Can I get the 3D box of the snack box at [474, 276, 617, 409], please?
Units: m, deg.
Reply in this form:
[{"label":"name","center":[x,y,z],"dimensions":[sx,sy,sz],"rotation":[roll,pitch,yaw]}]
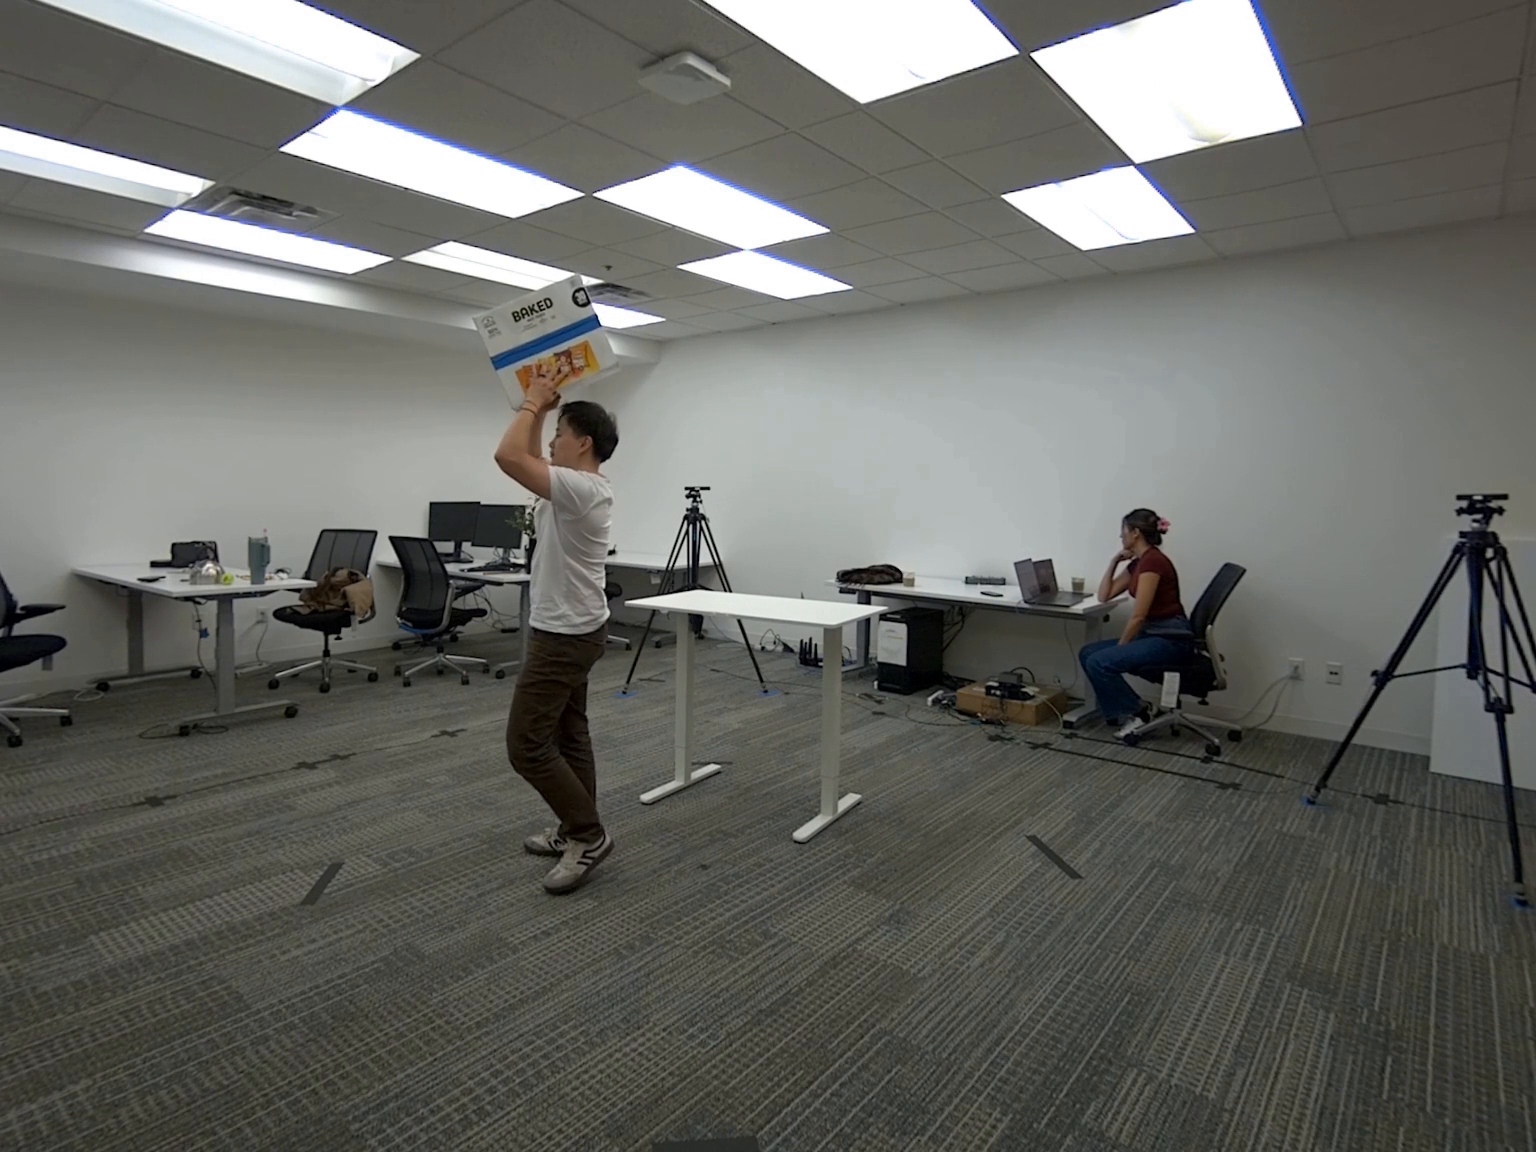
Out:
[{"label":"snack box","center":[-0.799,-0.826,3.032],"dimensions":[0.404,0.338,0.207],"rotation":[-24,5,-4]}]
